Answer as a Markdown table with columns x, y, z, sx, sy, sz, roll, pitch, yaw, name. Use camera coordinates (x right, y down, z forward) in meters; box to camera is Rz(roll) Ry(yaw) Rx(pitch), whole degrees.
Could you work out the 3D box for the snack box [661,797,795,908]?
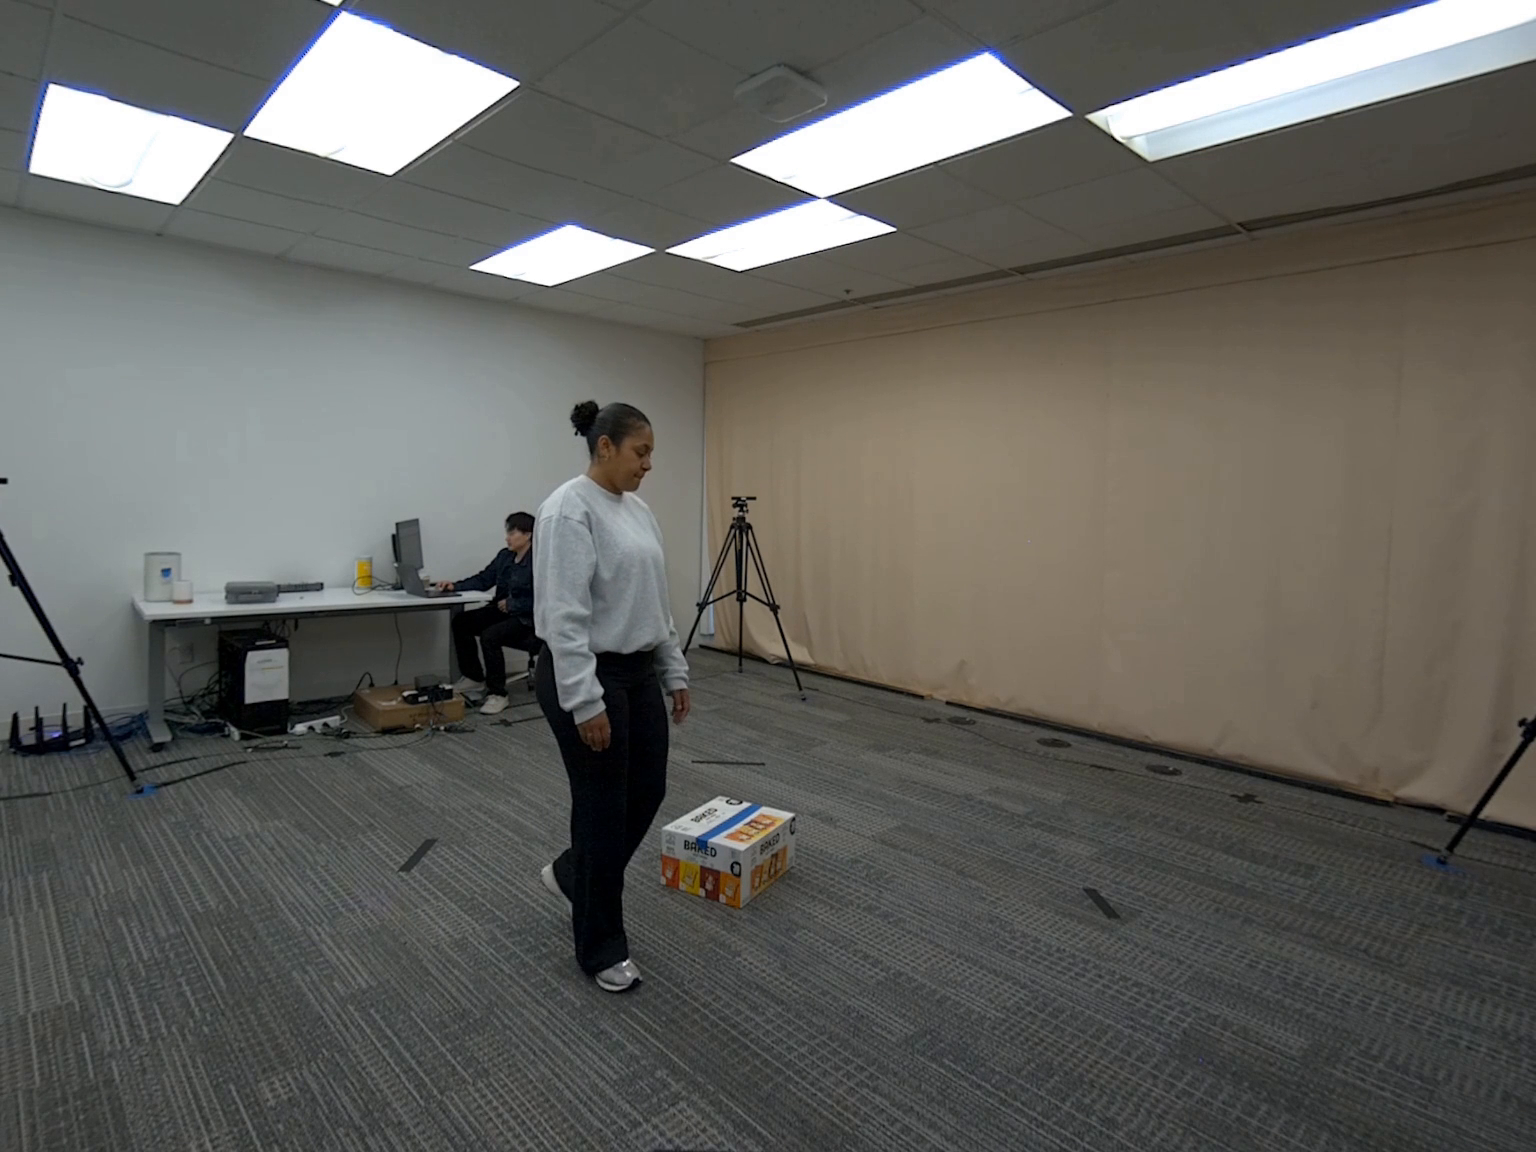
| x | y | z | sx | sy | sz | roll | pitch | yaw | name |
| --- | --- | --- | --- | --- | --- | --- | --- | --- | --- |
| -0.147 | 1.005 | 3.103 | 0.348 | 0.205 | 0.397 | 4 | 6 | 30 | snack box |
